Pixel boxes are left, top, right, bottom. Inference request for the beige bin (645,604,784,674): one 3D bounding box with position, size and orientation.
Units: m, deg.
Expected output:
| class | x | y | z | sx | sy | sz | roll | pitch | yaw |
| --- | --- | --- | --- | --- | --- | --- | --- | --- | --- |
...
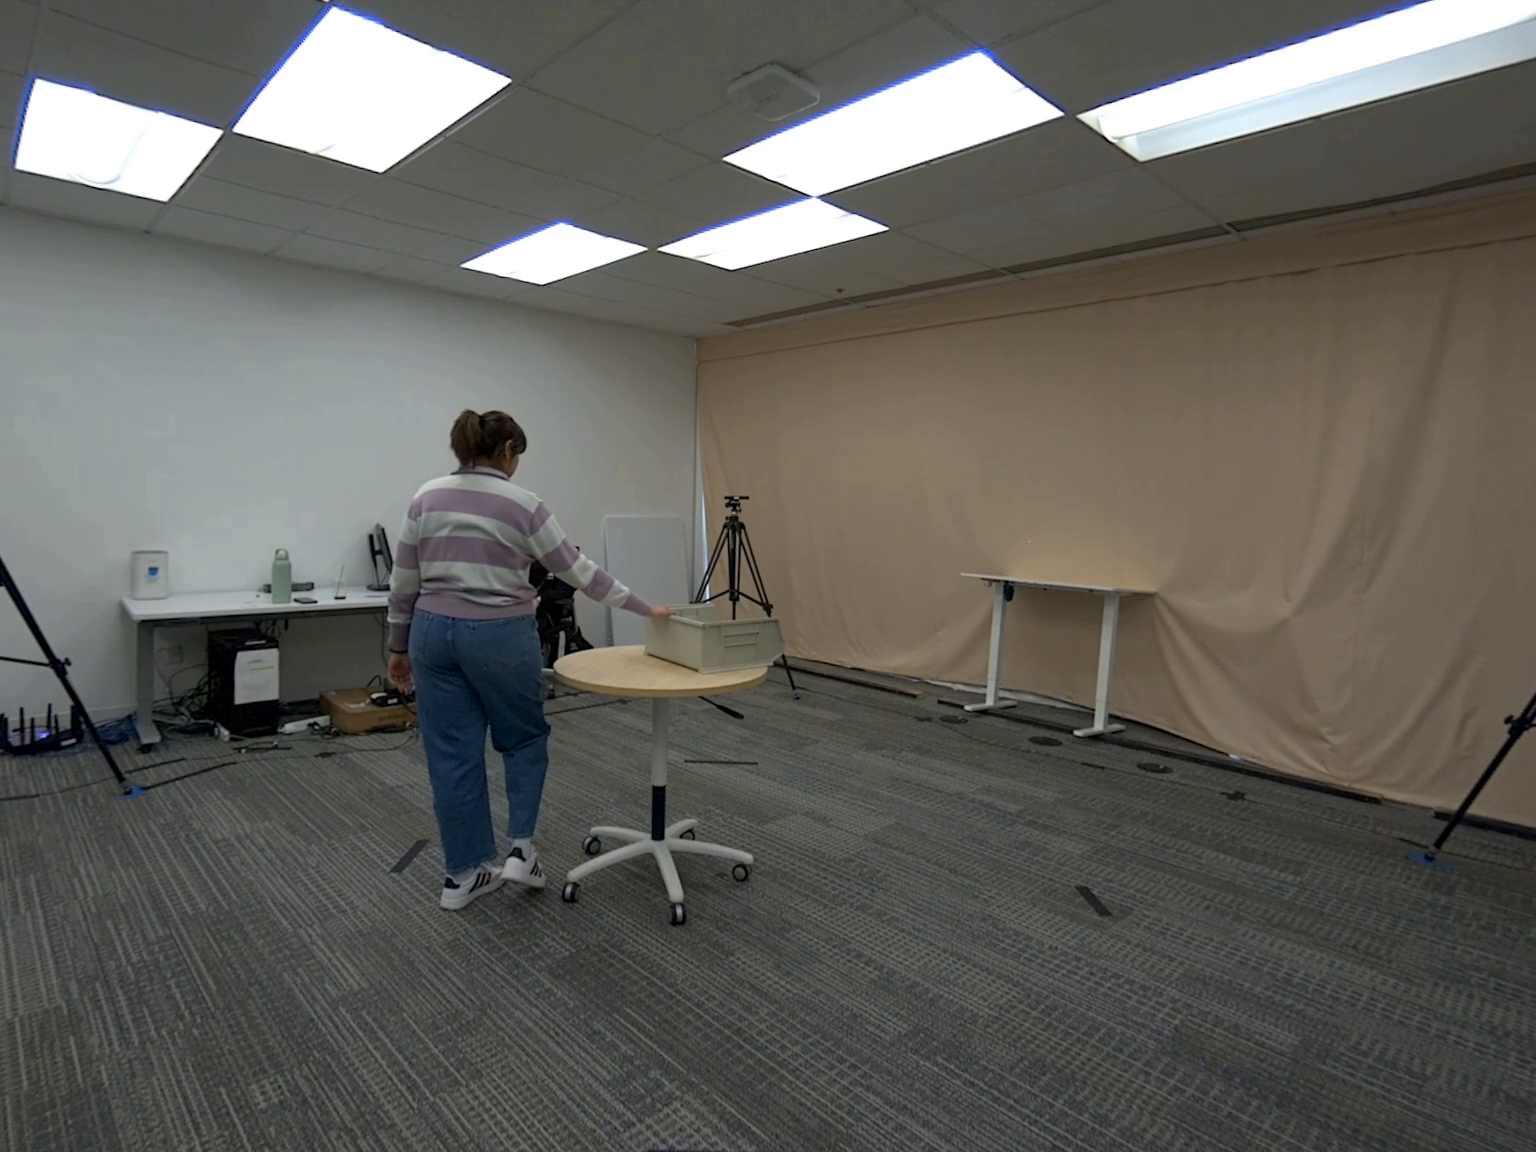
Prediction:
| class | x | y | z | sx | sy | sz | roll | pitch | yaw |
| --- | --- | --- | --- | --- | --- | --- | --- | --- | --- |
| beige bin | -0.217 | 0.226 | 3.151 | 0.369 | 0.188 | 0.433 | -4 | 8 | -37 |
